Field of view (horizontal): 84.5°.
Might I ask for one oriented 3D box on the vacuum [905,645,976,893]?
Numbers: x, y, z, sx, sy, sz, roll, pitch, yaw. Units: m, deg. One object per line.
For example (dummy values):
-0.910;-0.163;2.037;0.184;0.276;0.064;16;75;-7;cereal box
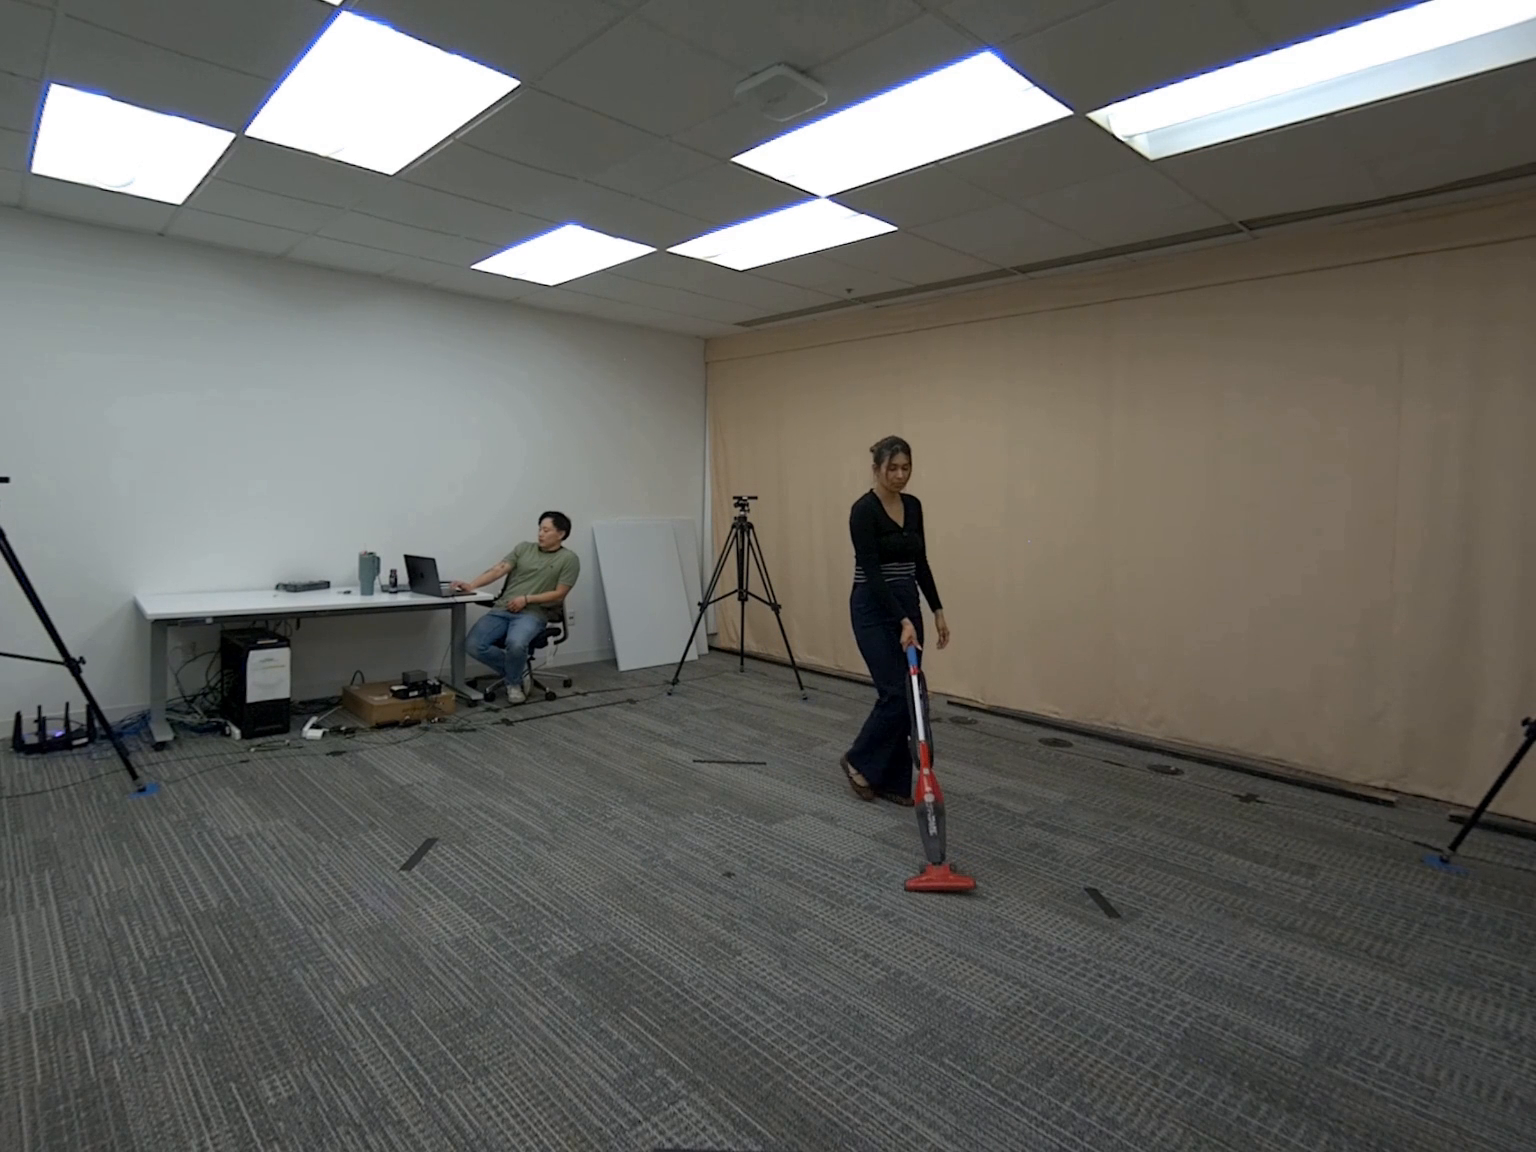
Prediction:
0.613;0.687;3.365;0.254;1.071;0.140;-7;-37;10;vacuum
